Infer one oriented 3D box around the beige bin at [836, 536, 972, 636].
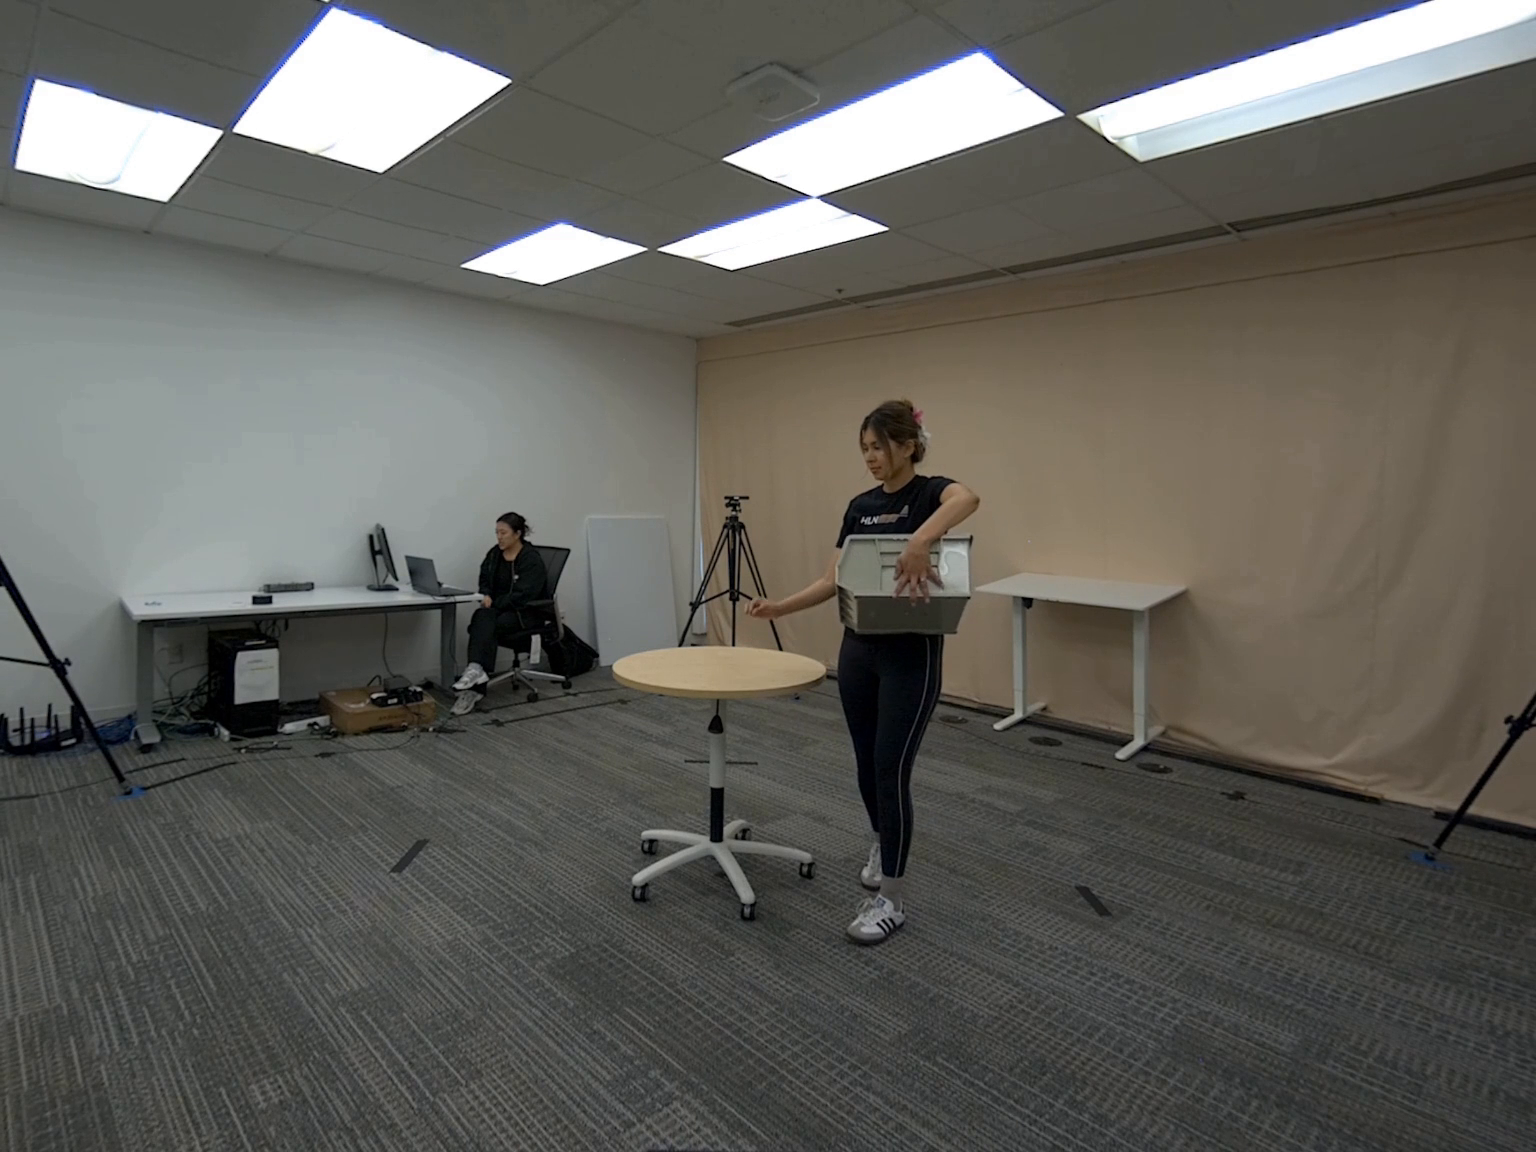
[{"bbox_3d":[0.388,0.036,2.512,0.380,0.191,0.414,2,-19,8],"label":"beige bin"}]
